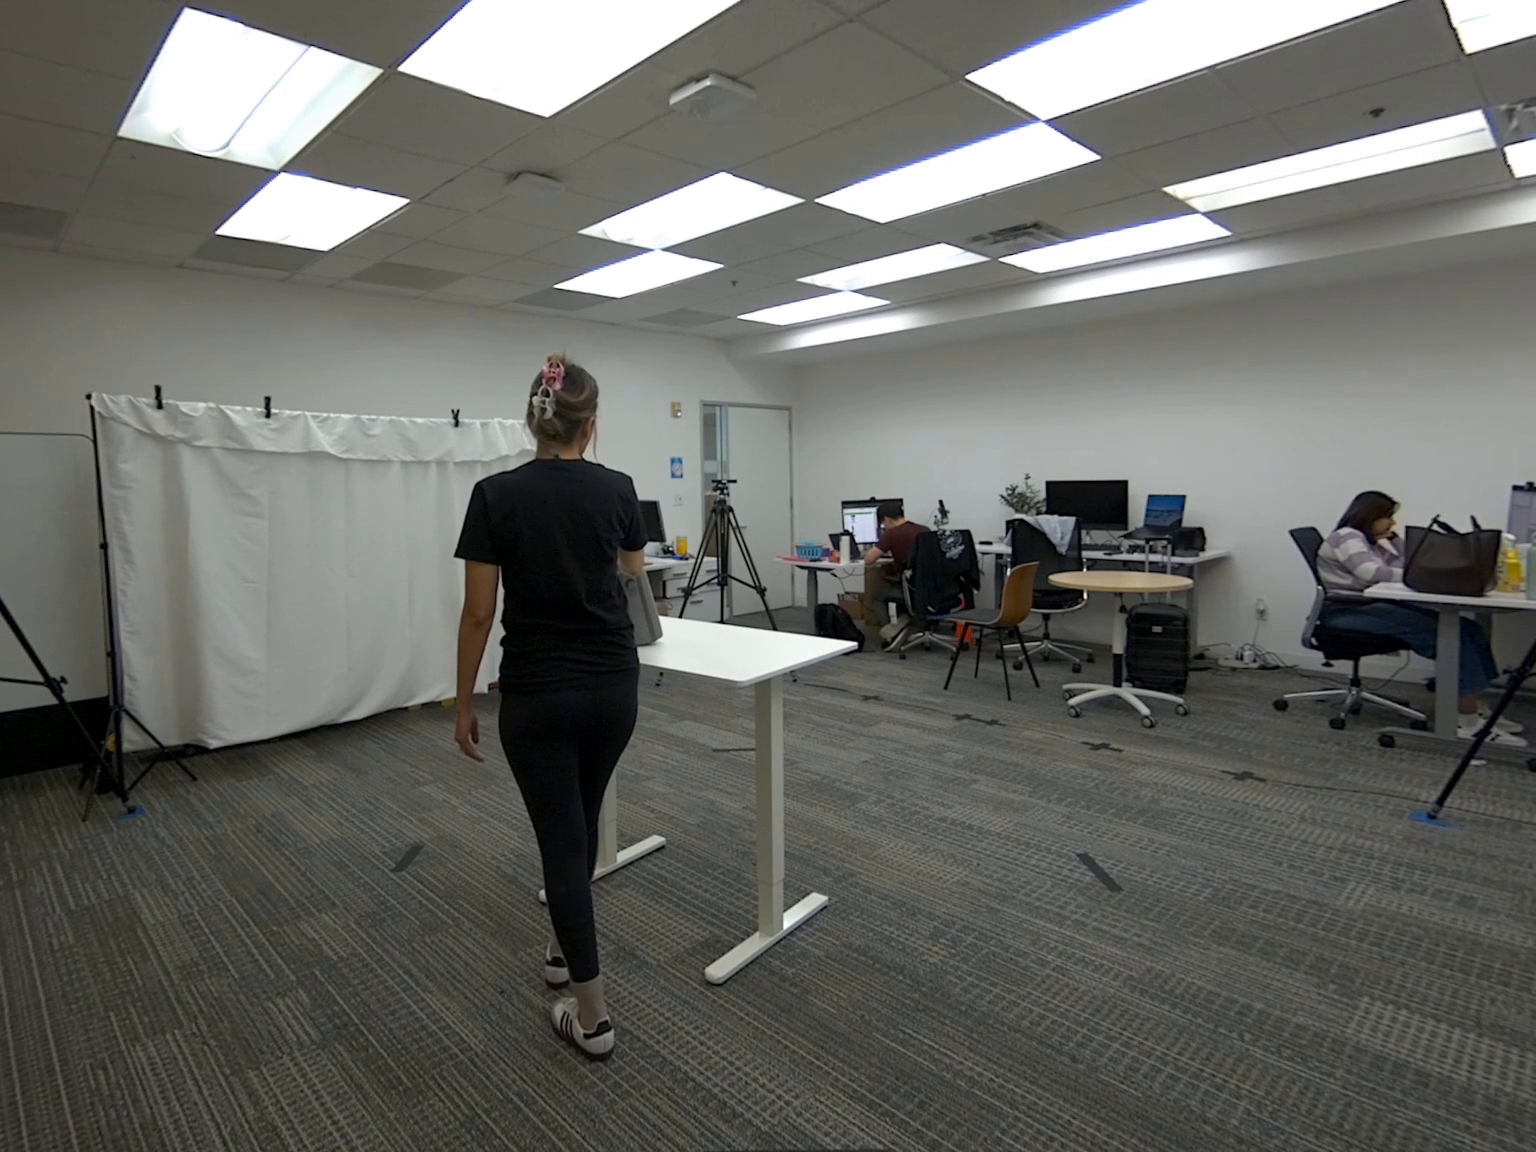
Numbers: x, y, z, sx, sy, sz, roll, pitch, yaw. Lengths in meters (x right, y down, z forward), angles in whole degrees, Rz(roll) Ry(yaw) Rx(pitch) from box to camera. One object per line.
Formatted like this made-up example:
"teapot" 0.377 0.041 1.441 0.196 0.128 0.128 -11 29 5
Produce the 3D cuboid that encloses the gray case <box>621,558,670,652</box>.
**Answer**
"gray case" -0.434 0.078 2.775 0.103 0.258 0.263 -15 11 -21
